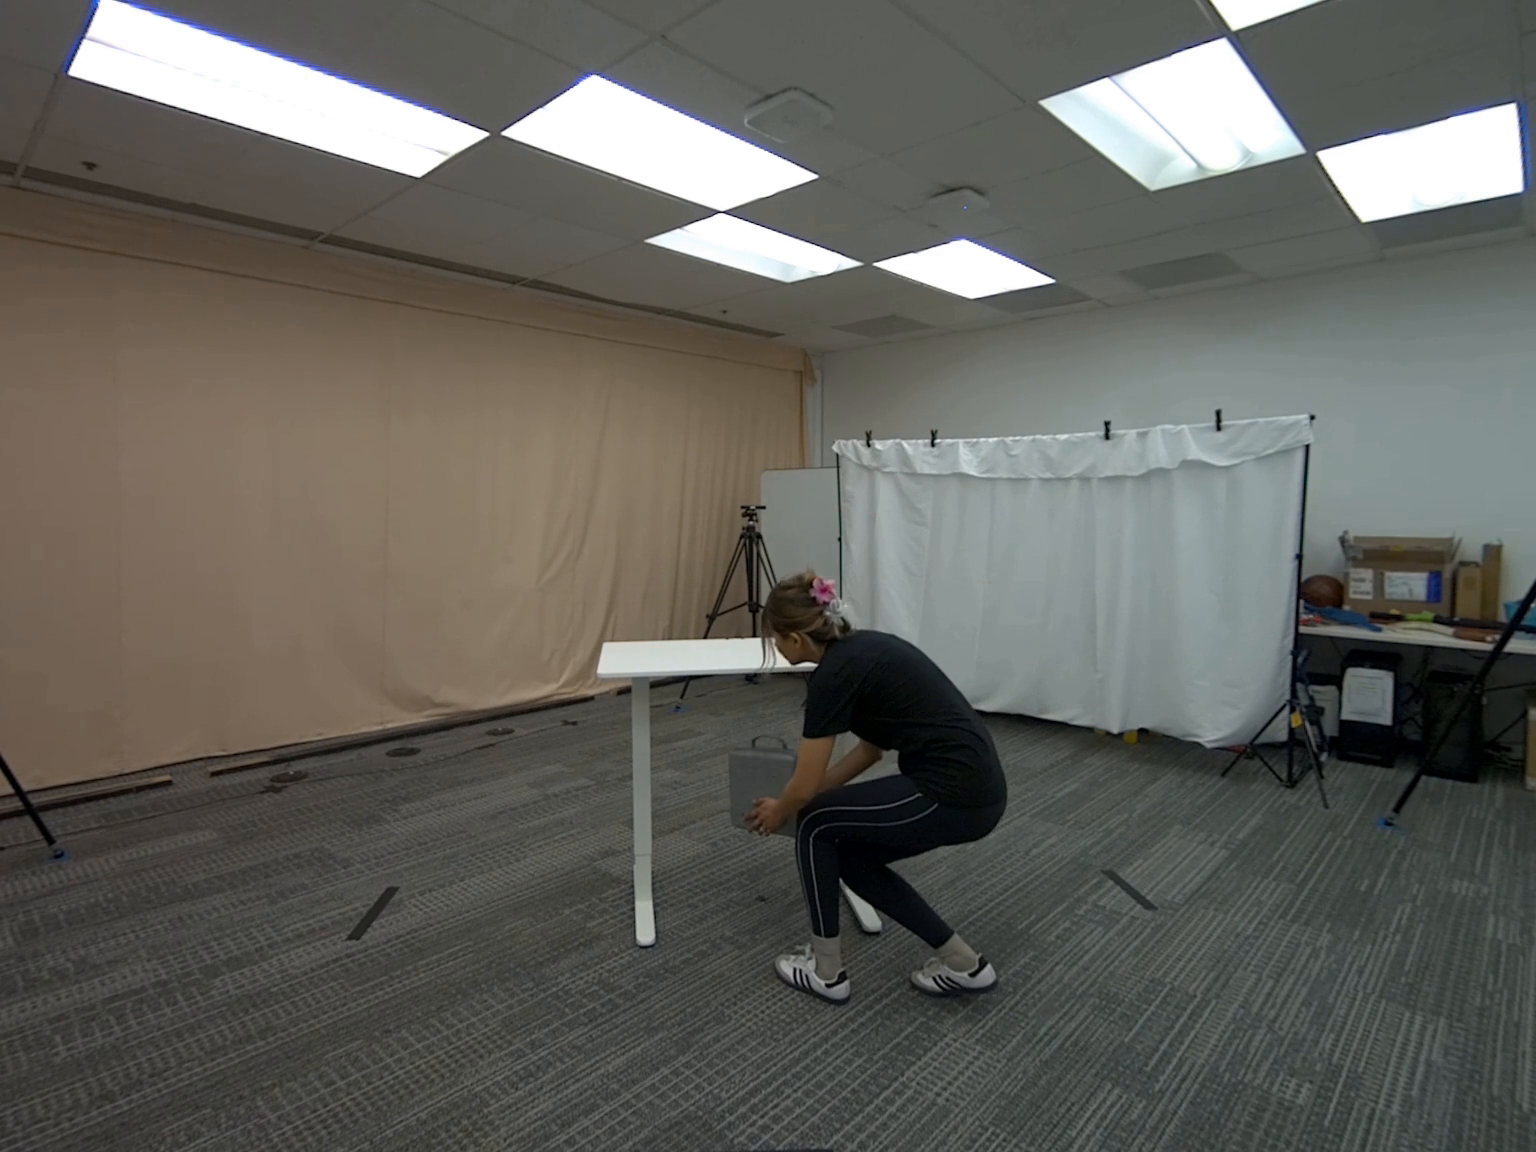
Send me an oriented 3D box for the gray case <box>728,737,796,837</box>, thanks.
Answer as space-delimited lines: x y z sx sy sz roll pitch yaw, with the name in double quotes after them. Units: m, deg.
0.009 0.664 2.632 0.264 0.260 0.101 -1 0 32 "gray case"
